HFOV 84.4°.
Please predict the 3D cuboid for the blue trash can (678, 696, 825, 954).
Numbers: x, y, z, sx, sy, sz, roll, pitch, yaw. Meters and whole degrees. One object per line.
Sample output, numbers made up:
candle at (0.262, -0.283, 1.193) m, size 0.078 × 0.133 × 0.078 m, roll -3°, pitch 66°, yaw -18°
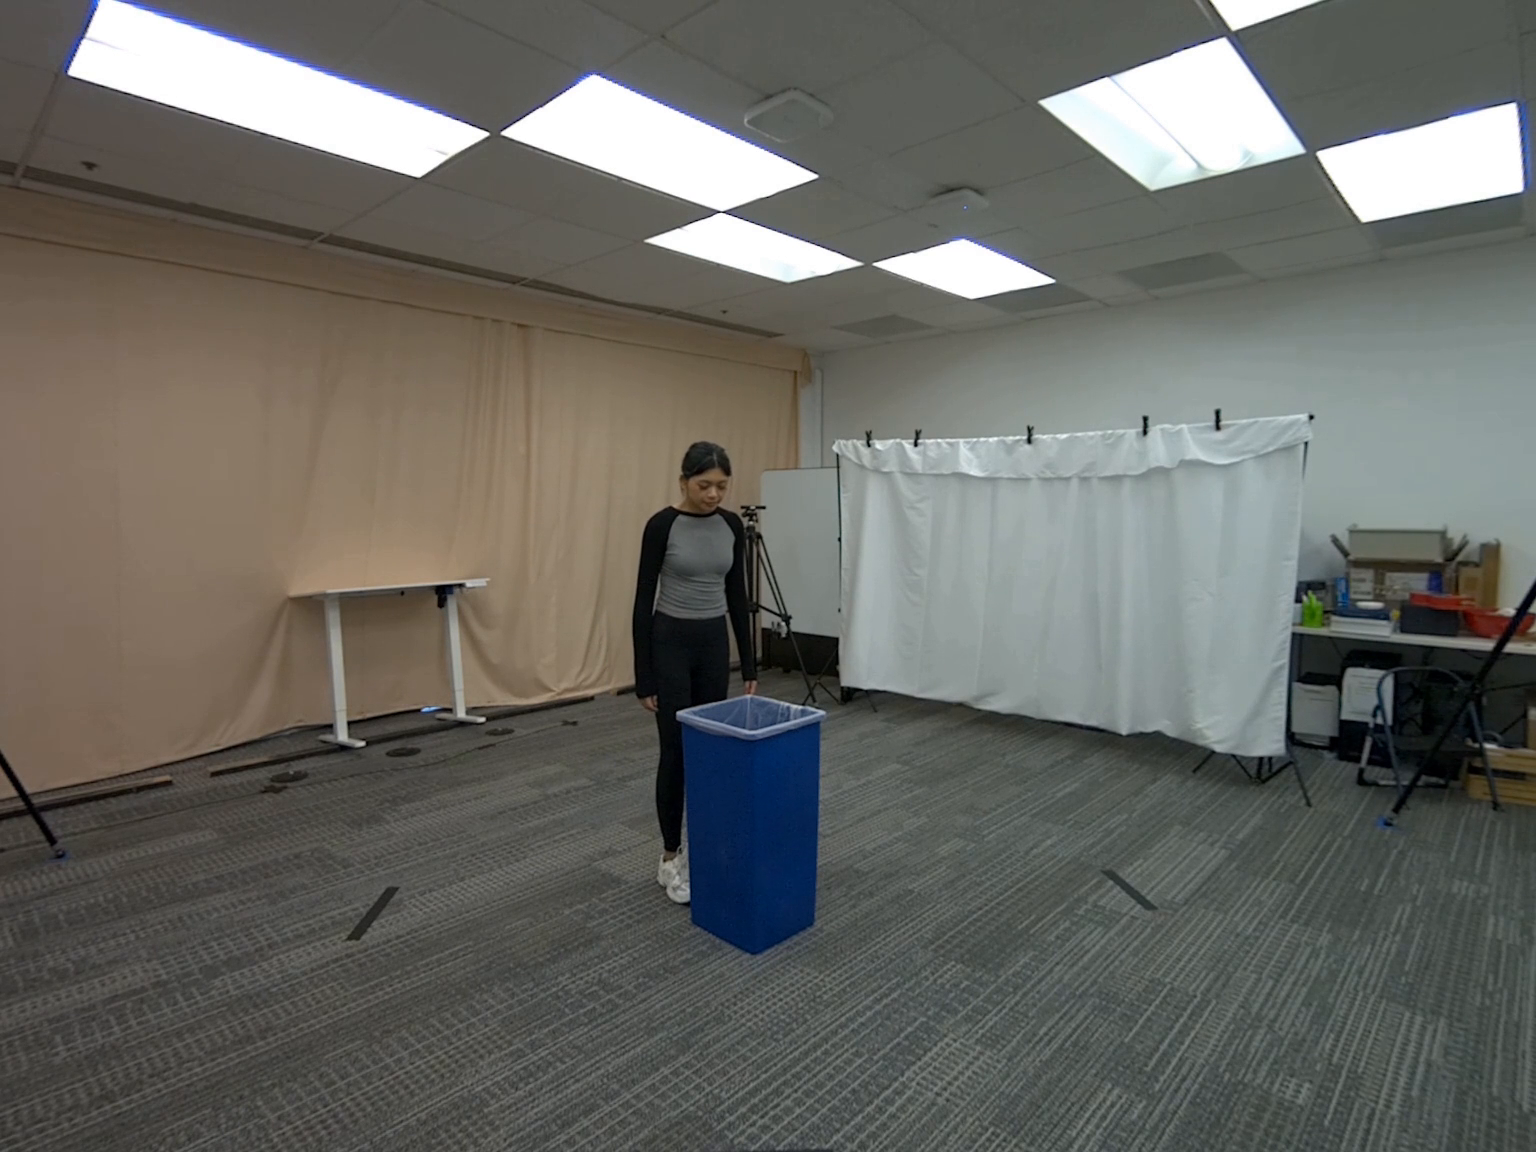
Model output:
blue trash can at (-0.050, 0.804, 2.784) m, size 0.390 × 0.712 × 0.362 m, roll 3°, pitch 4°, yaw 45°
